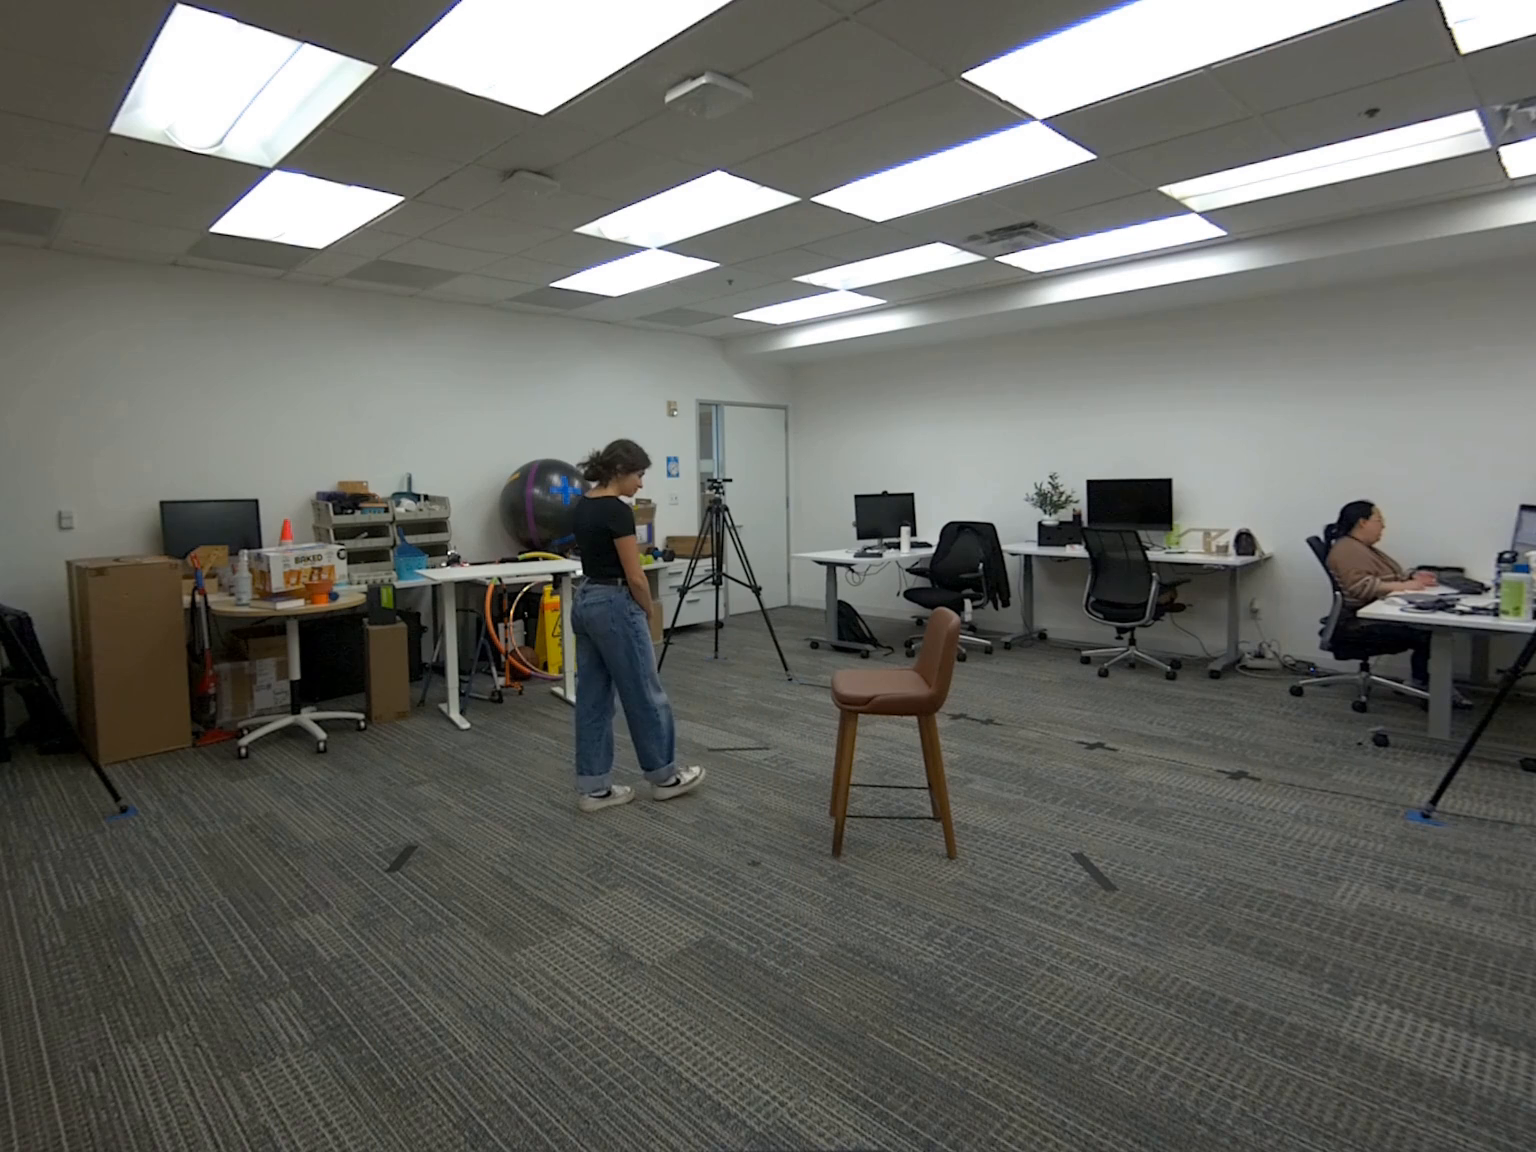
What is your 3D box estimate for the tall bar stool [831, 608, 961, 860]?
[{"bbox_3d":[0.474,0.580,3.296,0.470,0.887,0.456,1,4,4],"label":"tall bar stool"}]
